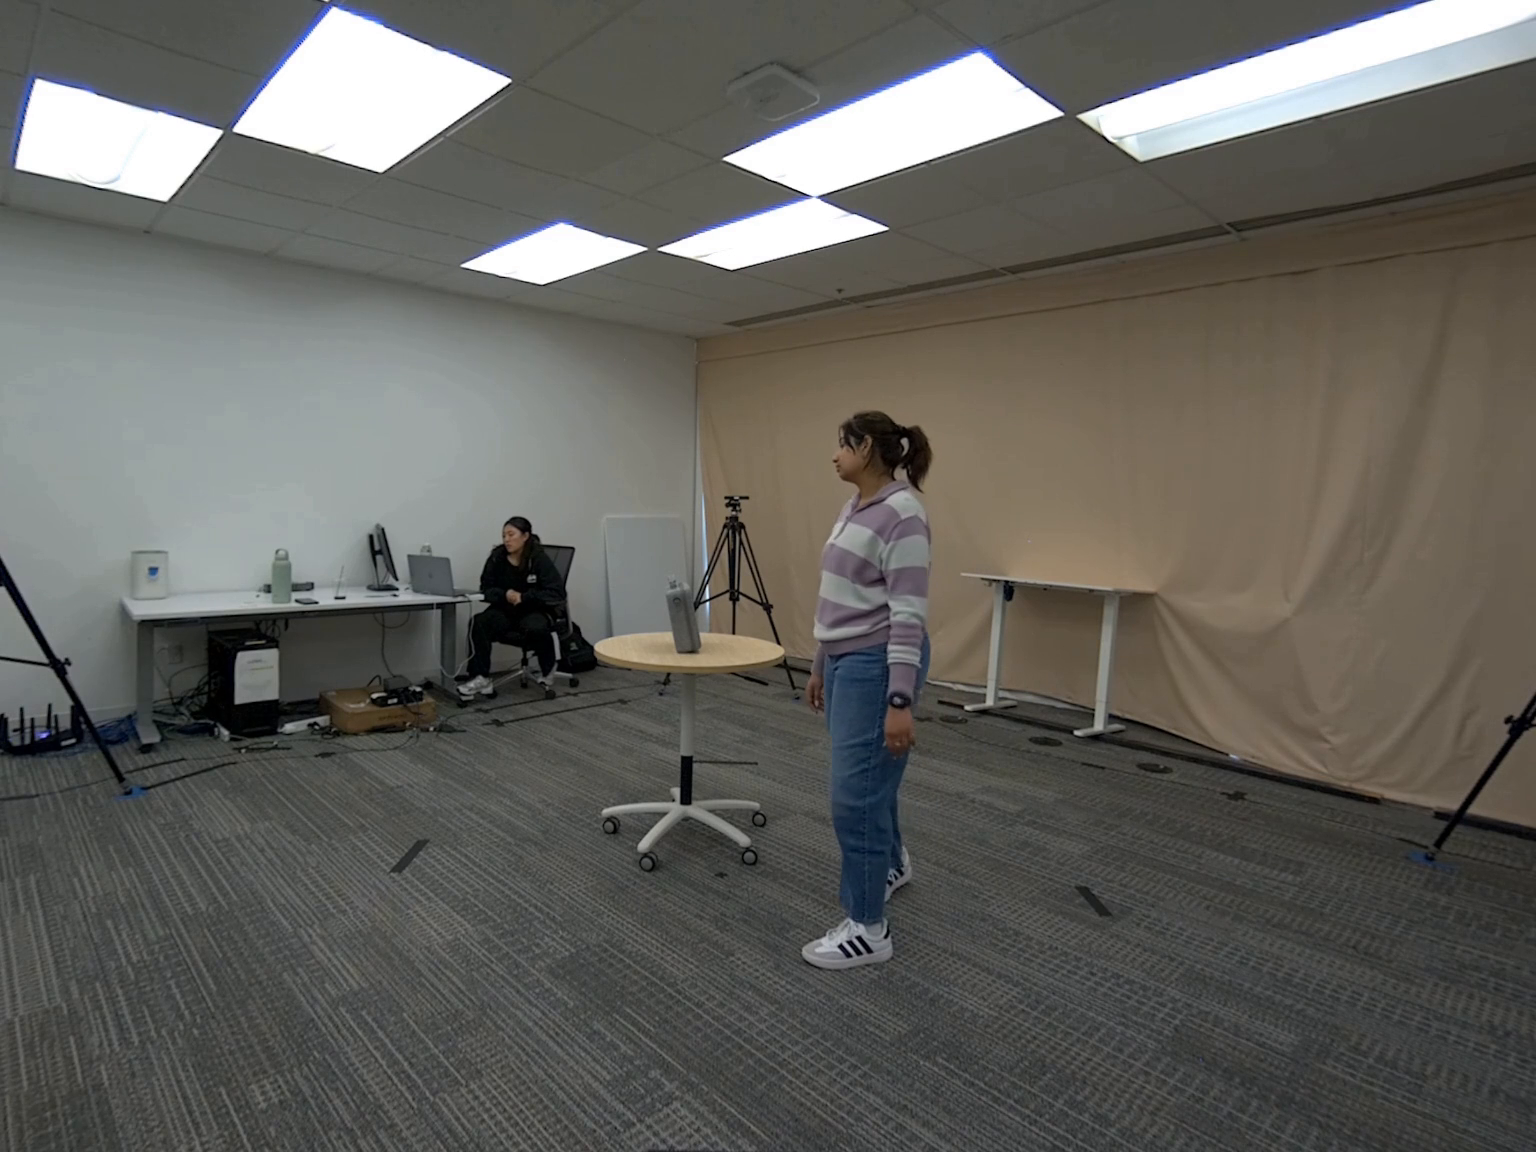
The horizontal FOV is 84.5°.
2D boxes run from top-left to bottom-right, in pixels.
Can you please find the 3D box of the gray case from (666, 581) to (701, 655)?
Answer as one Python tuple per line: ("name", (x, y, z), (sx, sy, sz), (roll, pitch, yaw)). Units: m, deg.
("gray case", (-0.349, 0.160, 3.366), (0.104, 0.260, 0.259), (-8, 5, -6))
